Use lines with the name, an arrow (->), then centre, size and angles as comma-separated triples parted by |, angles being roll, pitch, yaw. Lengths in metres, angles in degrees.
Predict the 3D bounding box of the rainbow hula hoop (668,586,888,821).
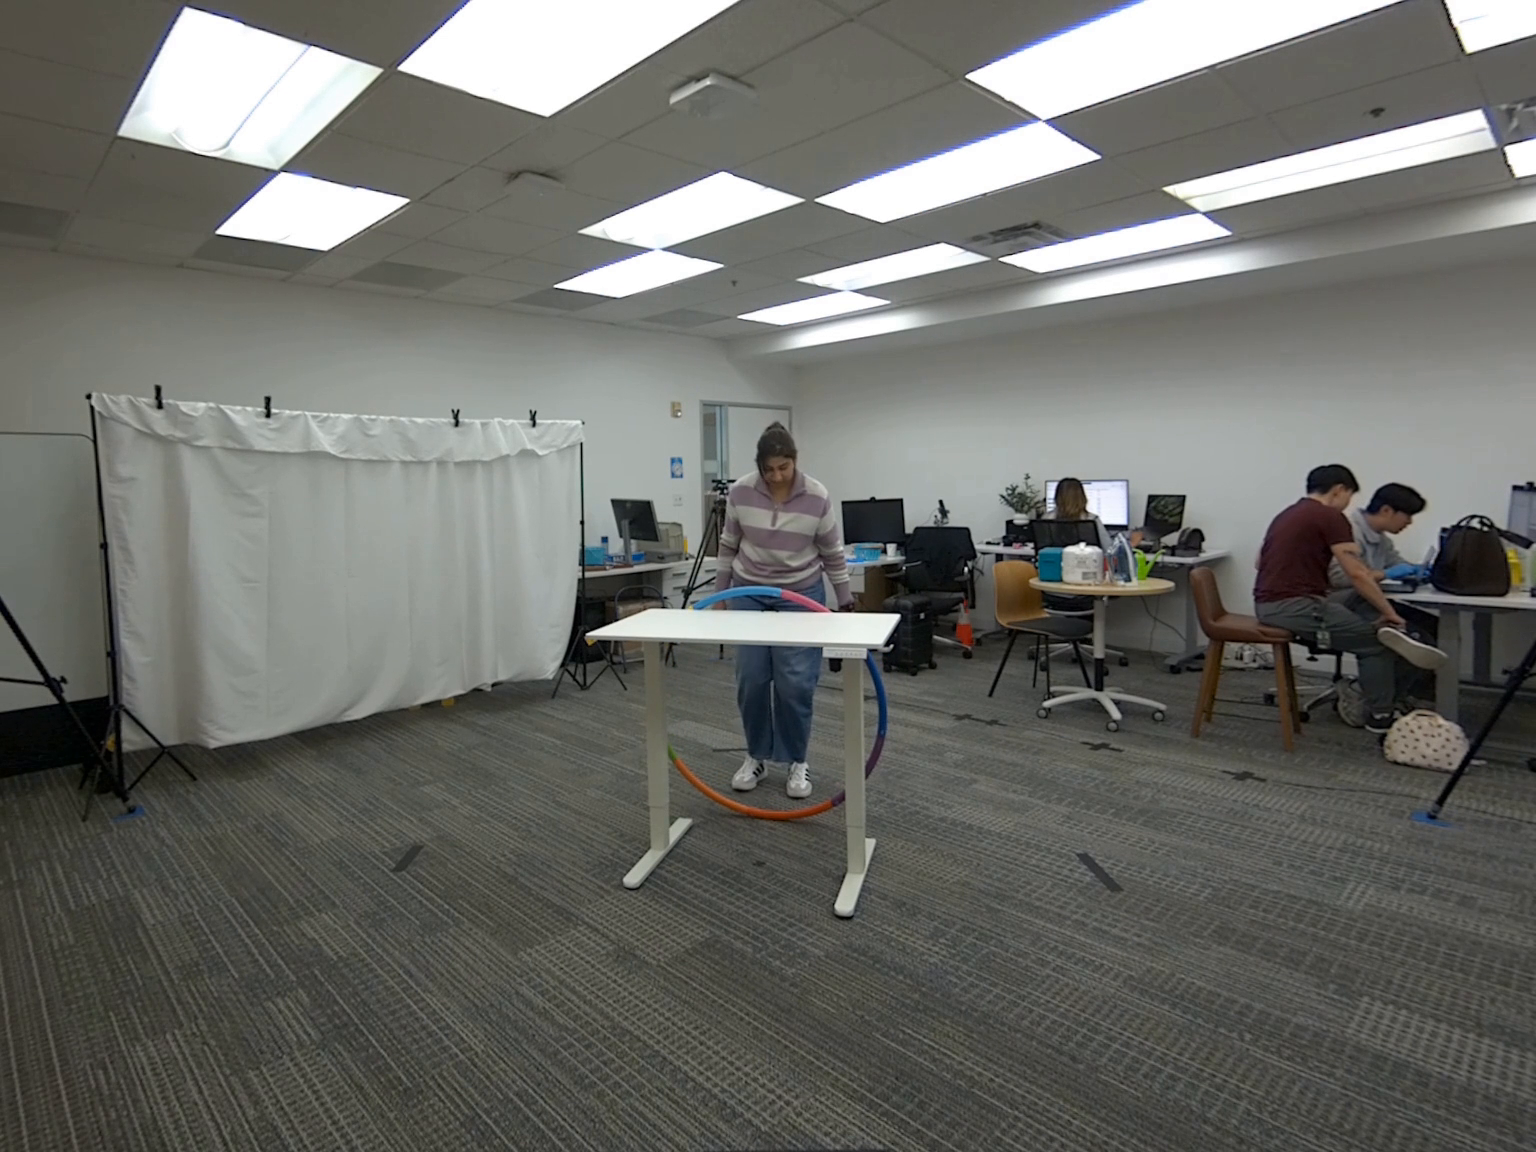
rainbow hula hoop -> -0.009, 0.528, 3.439 | 0.994, 0.967, 0.035 | 1, 12, 17
